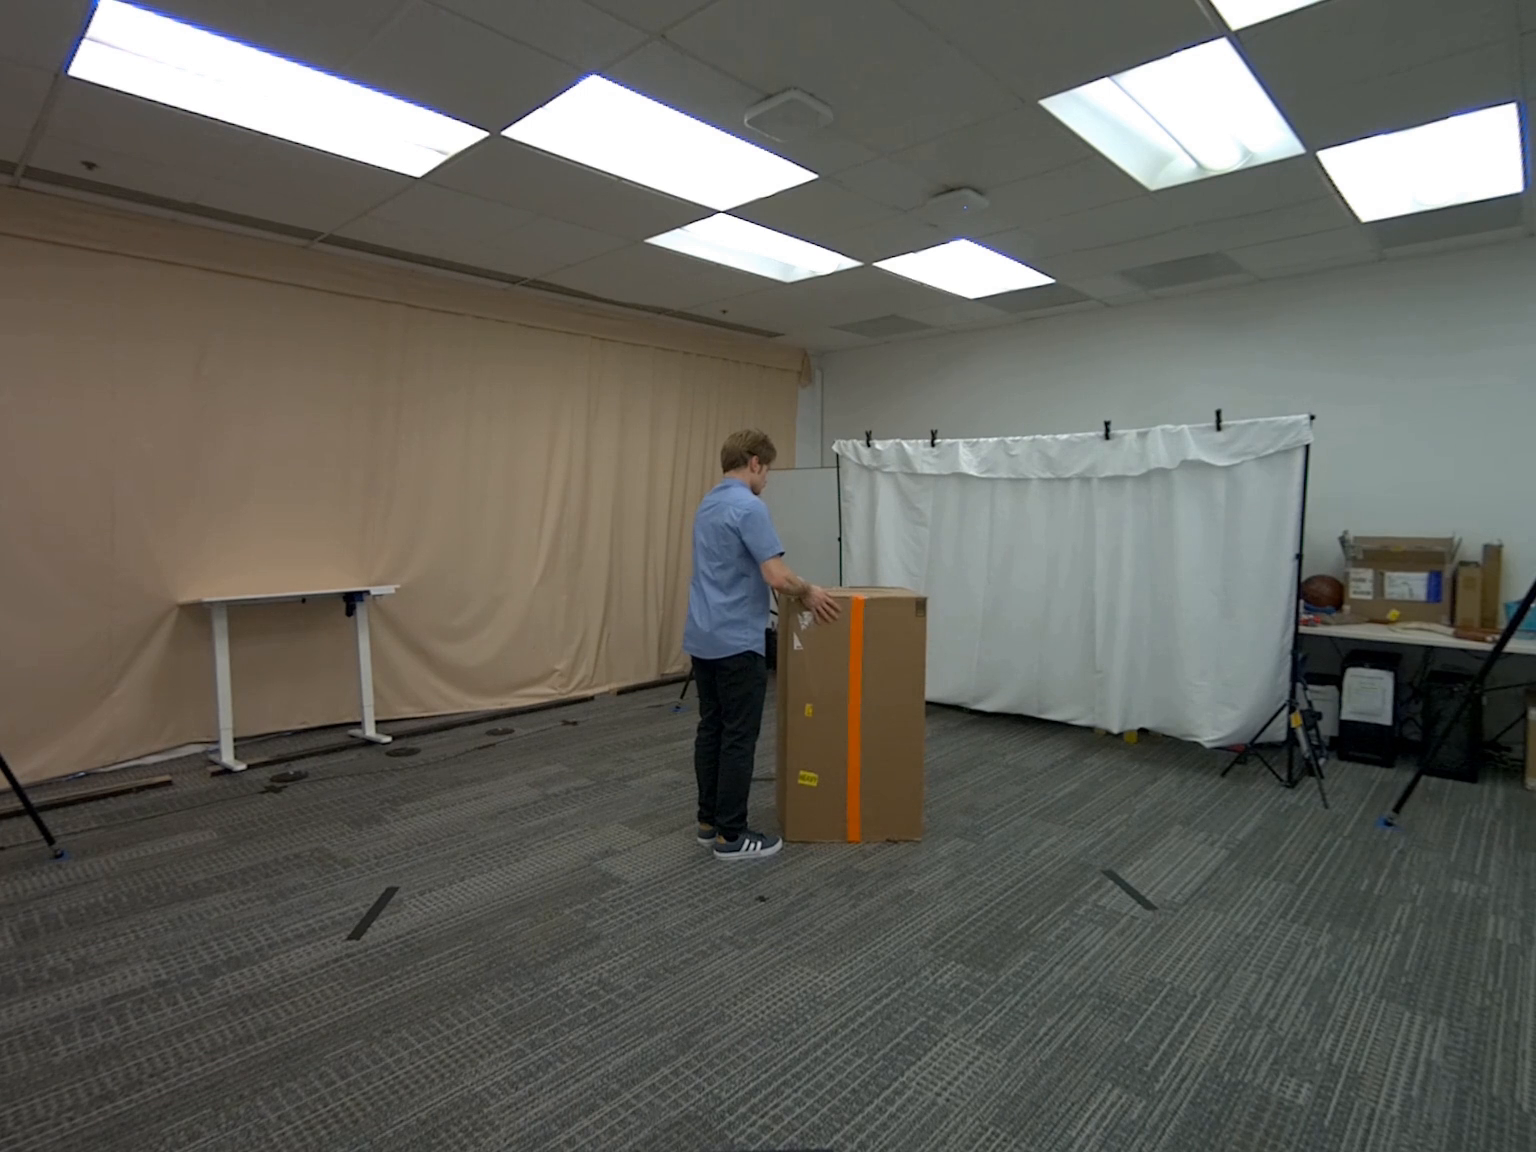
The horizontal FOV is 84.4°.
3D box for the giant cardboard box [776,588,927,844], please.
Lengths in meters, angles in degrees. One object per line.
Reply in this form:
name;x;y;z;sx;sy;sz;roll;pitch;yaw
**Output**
giant cardboard box;0.351;0.578;3.681;0.576;1.024;0.428;1;3;-4
